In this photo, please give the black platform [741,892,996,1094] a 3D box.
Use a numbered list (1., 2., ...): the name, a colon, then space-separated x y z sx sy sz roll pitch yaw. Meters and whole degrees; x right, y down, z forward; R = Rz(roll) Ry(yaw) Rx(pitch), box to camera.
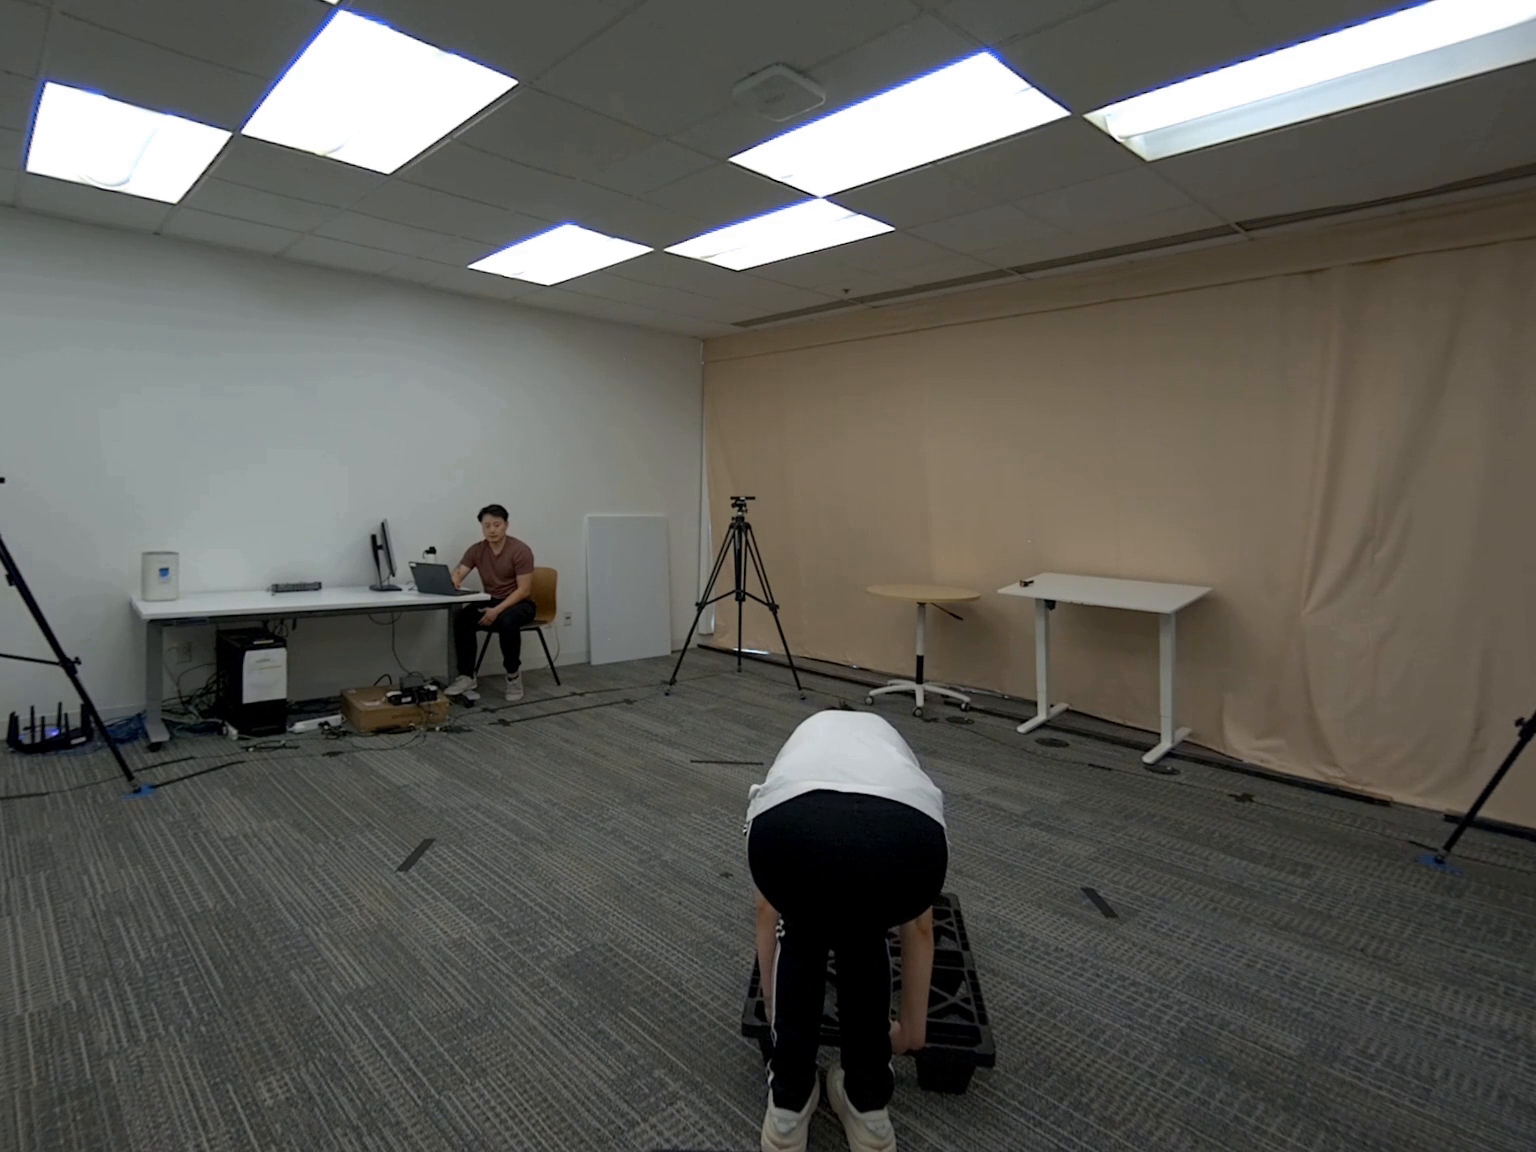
1. black platform: 0.268 1.117 2.372 0.609 0.143 0.803 3 6 7
